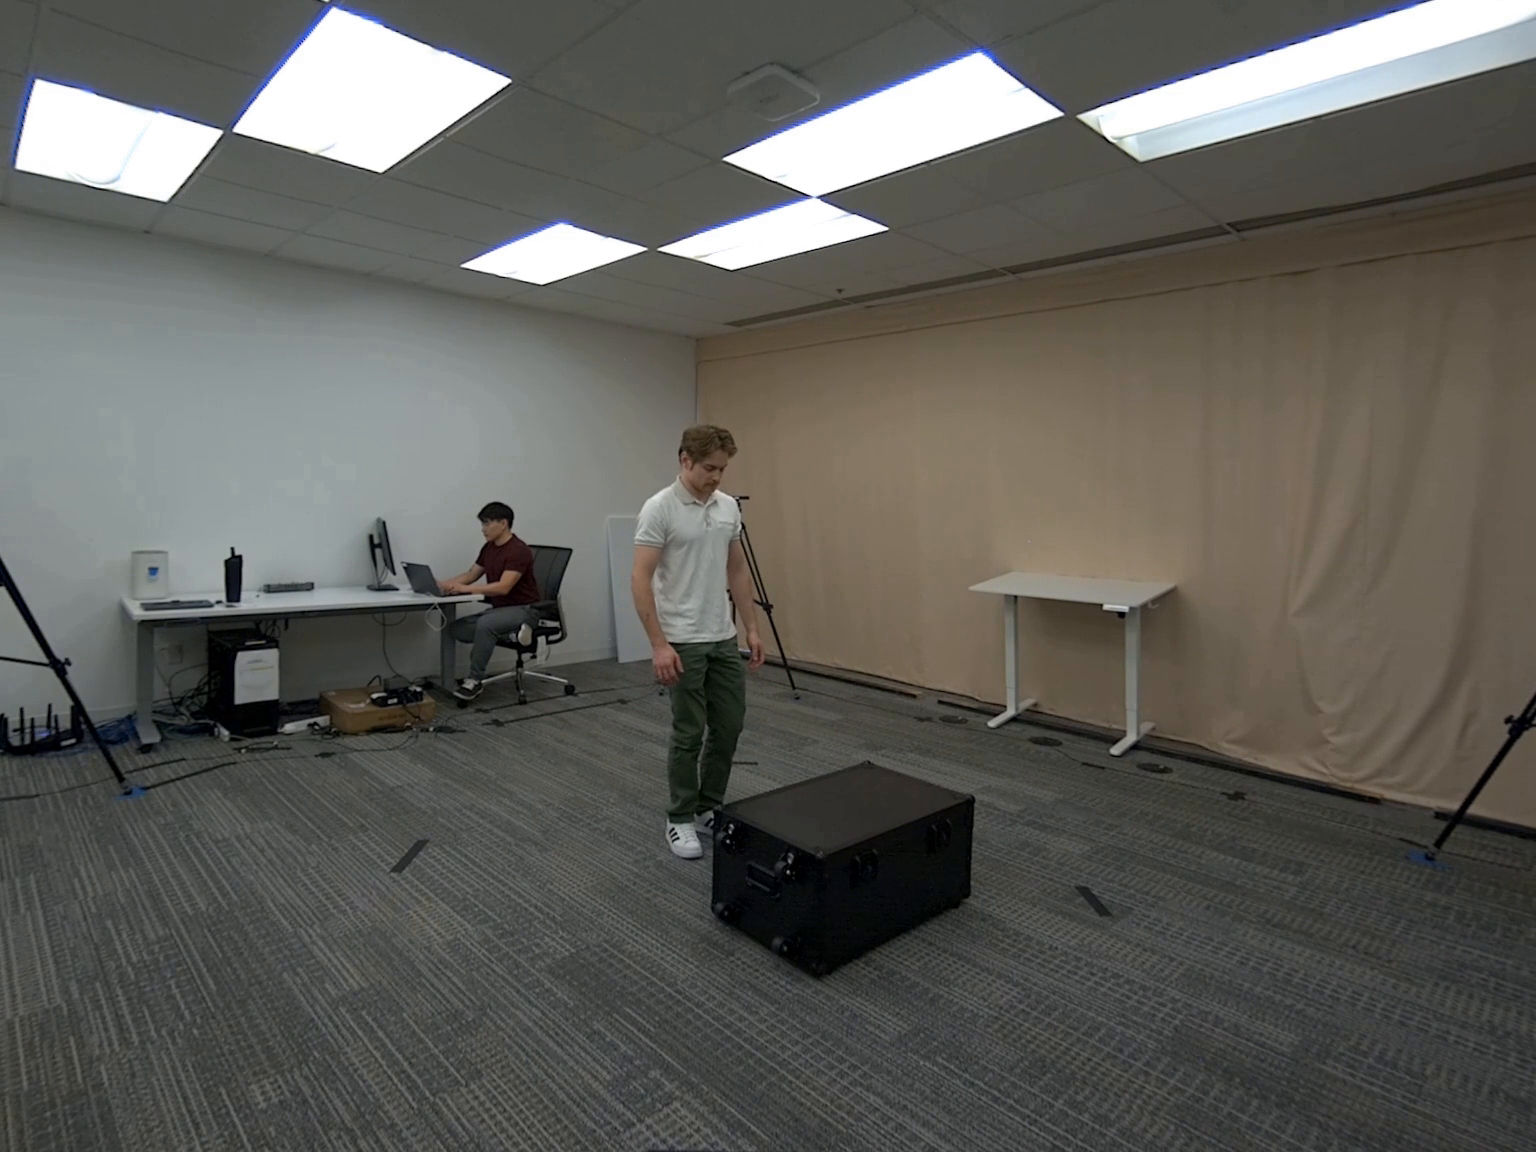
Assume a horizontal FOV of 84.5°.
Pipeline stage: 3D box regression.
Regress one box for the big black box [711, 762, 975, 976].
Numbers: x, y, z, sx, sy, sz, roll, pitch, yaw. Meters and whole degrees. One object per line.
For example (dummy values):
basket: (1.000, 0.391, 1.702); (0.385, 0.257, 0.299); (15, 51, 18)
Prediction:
big black box: (0.235, 0.949, 2.820); (0.841, 0.395, 0.535); (-2, 6, -43)
